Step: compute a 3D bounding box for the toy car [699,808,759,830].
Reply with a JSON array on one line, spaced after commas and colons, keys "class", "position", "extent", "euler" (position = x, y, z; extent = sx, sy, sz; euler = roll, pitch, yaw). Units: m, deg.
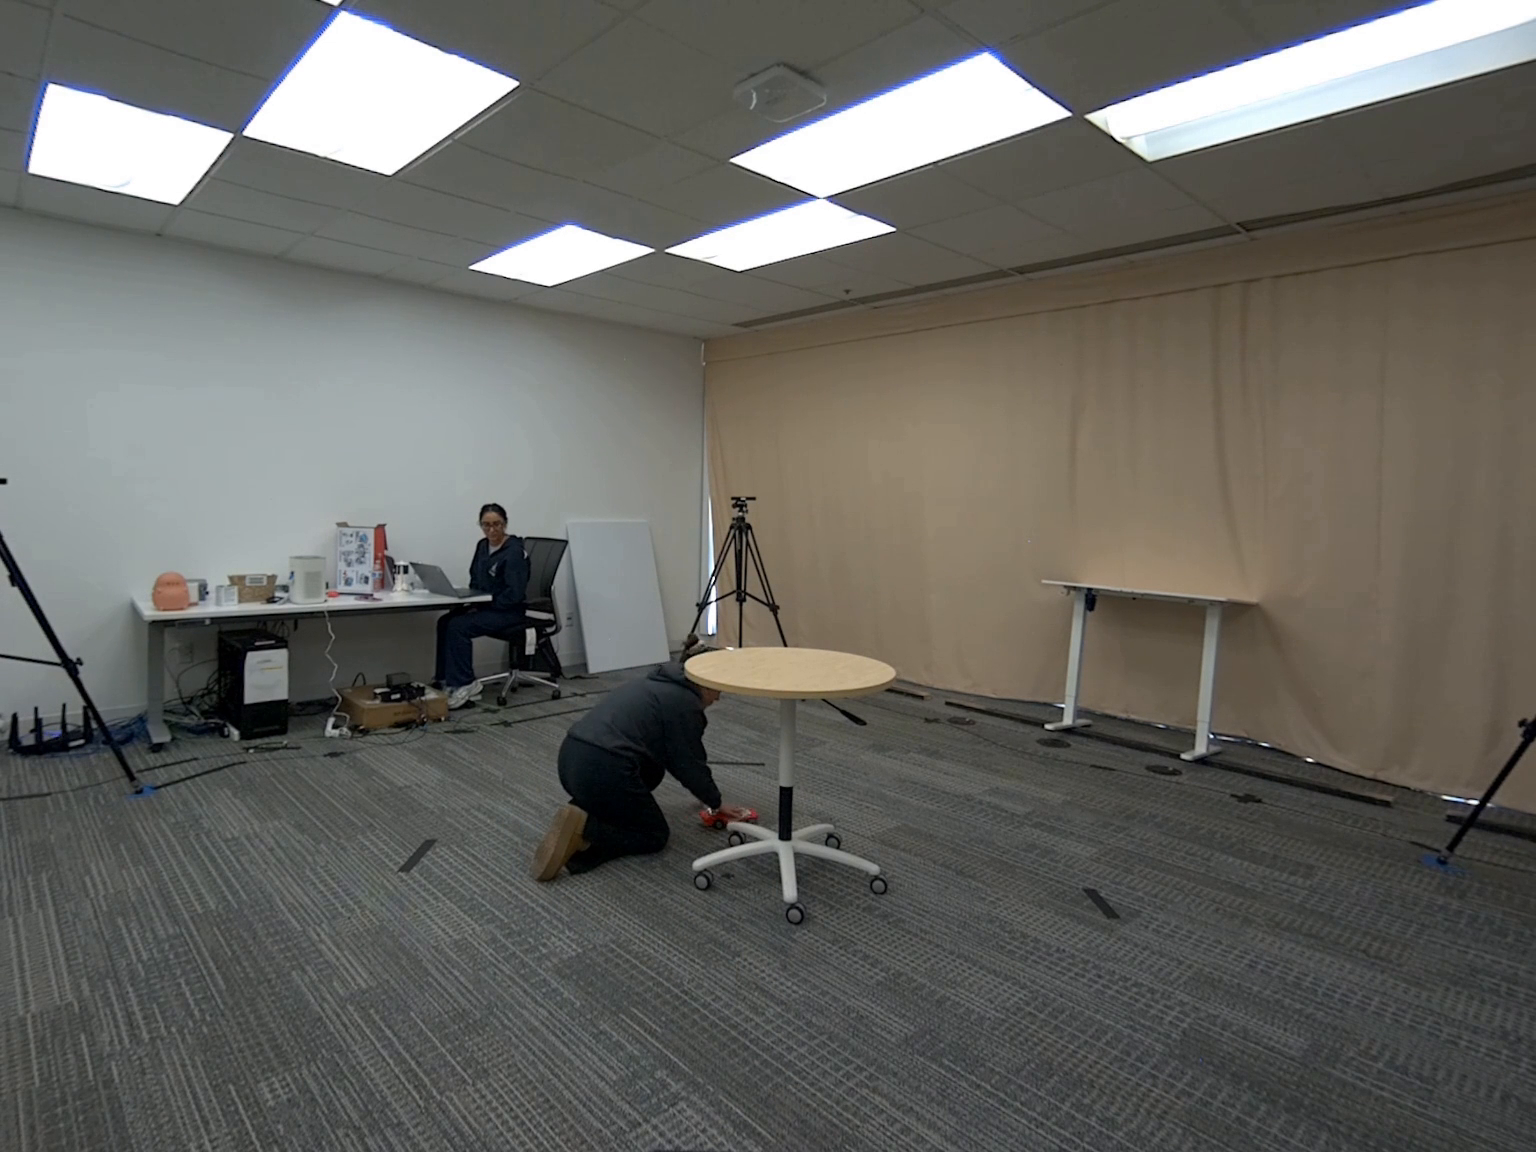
[{"class": "toy car", "position": [-0.186, 1.029, 3.606], "extent": [0.251, 0.083, 0.132], "euler": [12, 2, -15]}]
